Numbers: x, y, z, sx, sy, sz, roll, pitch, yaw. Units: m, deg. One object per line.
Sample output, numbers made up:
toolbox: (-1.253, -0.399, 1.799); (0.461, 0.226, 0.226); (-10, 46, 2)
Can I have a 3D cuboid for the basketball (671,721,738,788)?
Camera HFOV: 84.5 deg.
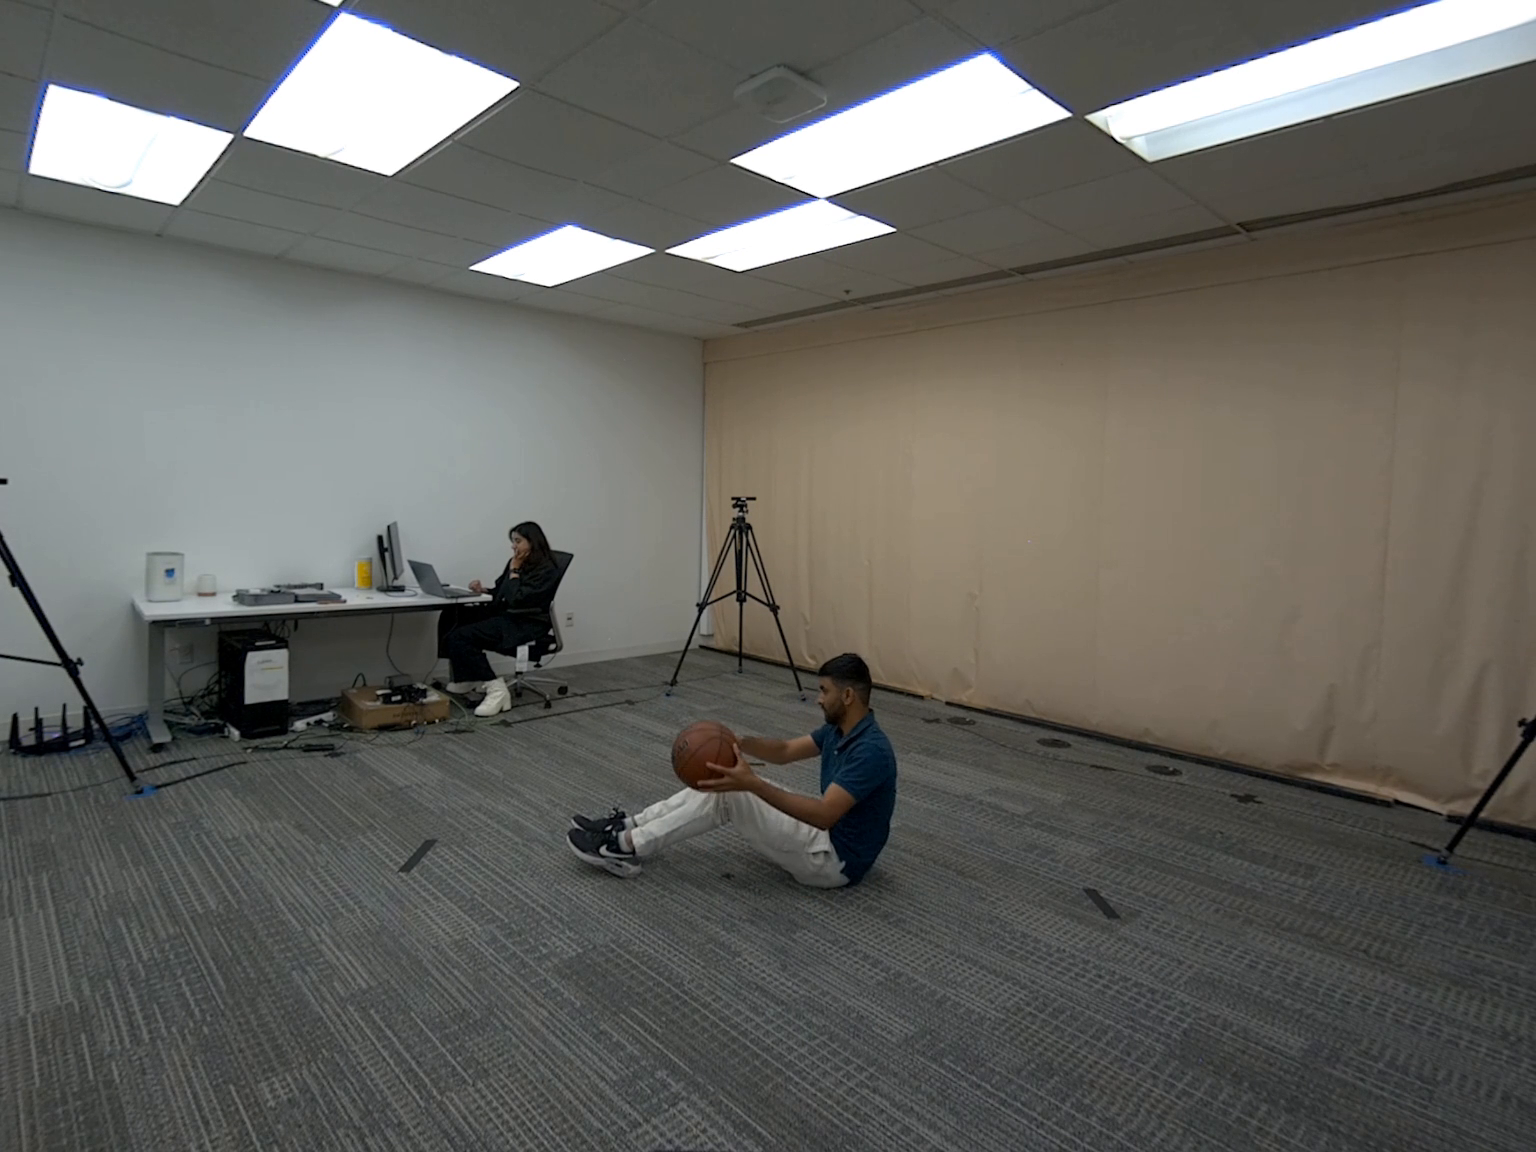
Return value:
basketball: (-0.210, 0.620, 2.892); (0.236, 0.235, 0.237); (1, 4, -1)
